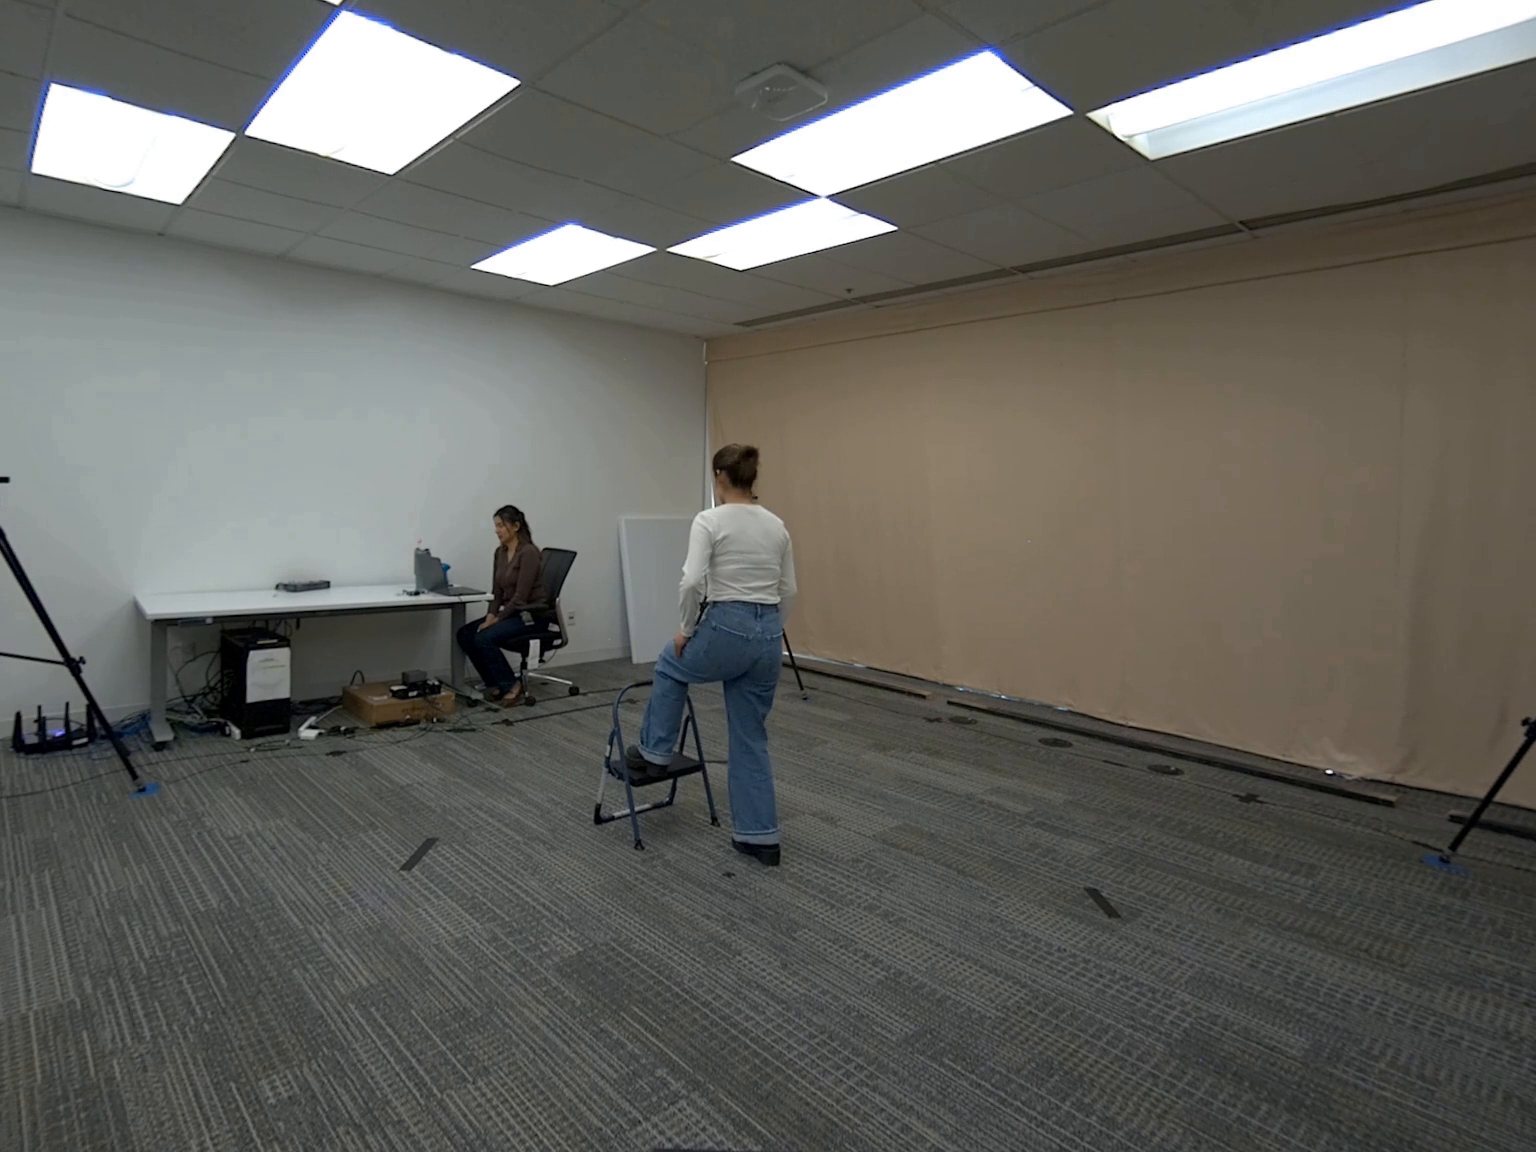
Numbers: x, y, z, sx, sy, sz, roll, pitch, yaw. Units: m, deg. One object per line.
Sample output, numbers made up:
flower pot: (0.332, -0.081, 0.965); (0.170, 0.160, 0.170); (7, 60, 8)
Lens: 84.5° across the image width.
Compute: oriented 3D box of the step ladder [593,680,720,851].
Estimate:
step ladder: (-0.473, 0.753, 3.555); (0.421, 0.605, 0.358); (-2, 4, -44)
